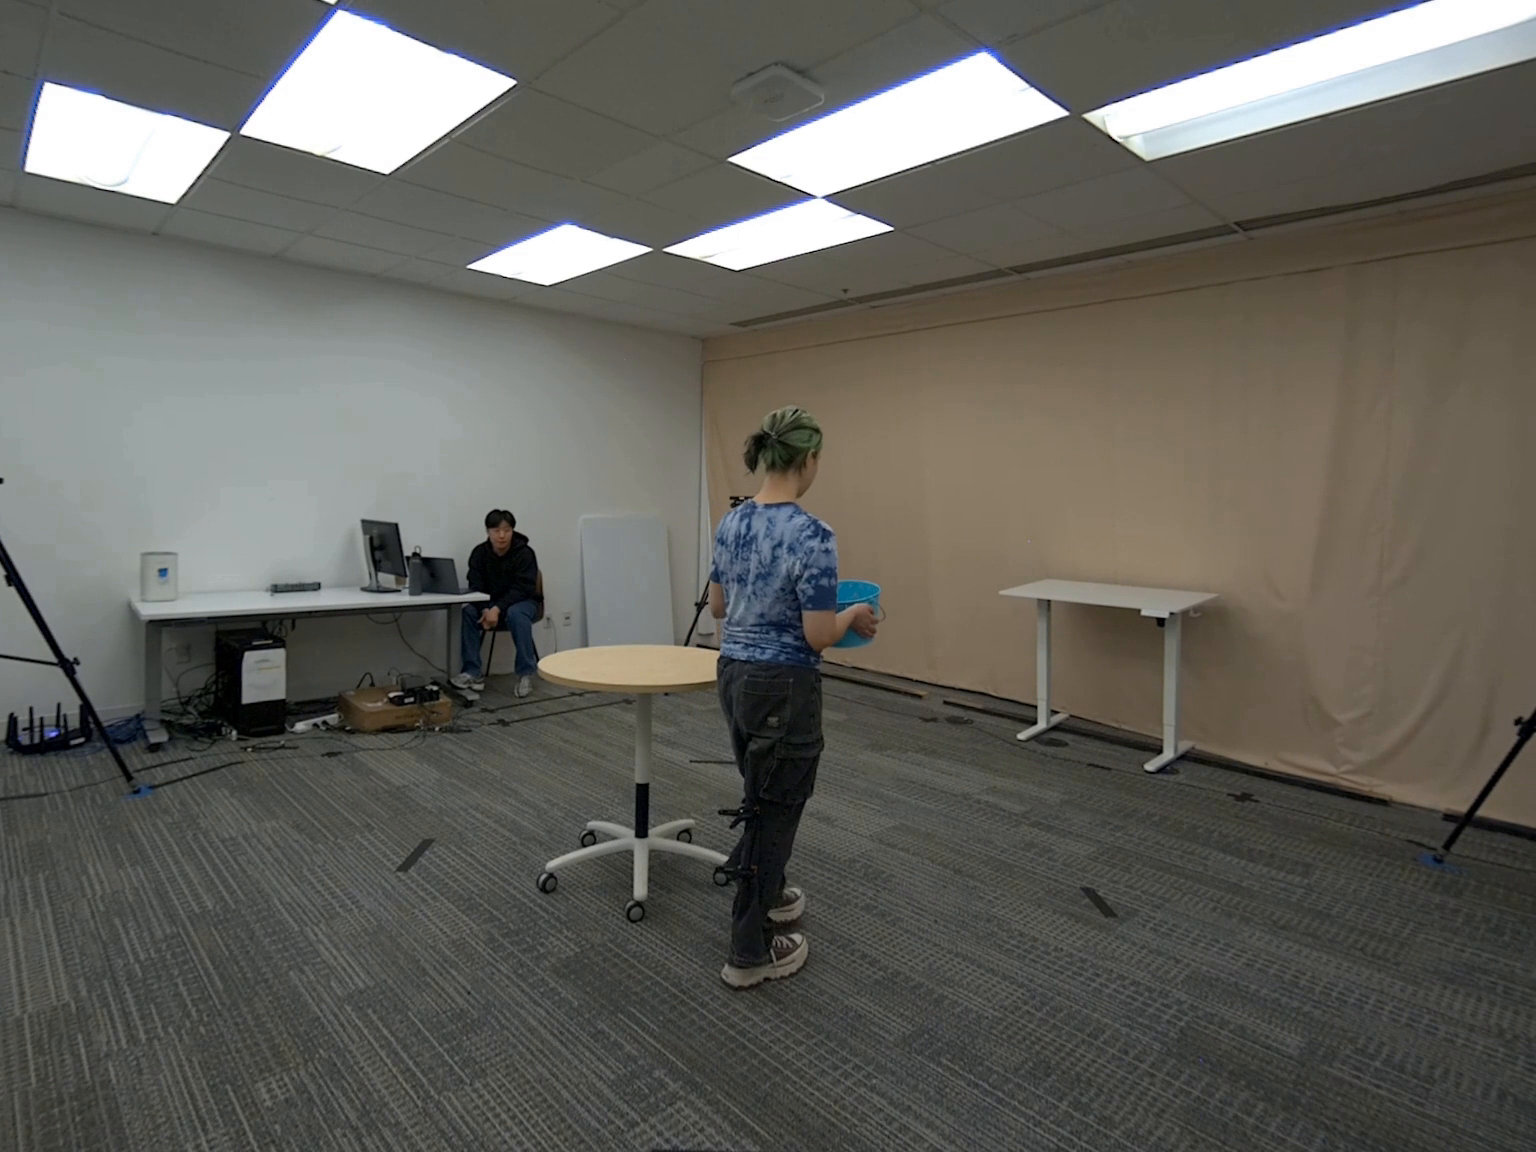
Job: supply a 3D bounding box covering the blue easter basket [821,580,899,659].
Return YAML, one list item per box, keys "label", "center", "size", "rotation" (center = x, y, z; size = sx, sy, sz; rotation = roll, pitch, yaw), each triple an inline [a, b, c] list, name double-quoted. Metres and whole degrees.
- label: "blue easter basket"
  center: [0.247, 0.127, 2.581]
  size: [0.243, 0.154, 0.246]
  rotation: [-5, 13, 0]
